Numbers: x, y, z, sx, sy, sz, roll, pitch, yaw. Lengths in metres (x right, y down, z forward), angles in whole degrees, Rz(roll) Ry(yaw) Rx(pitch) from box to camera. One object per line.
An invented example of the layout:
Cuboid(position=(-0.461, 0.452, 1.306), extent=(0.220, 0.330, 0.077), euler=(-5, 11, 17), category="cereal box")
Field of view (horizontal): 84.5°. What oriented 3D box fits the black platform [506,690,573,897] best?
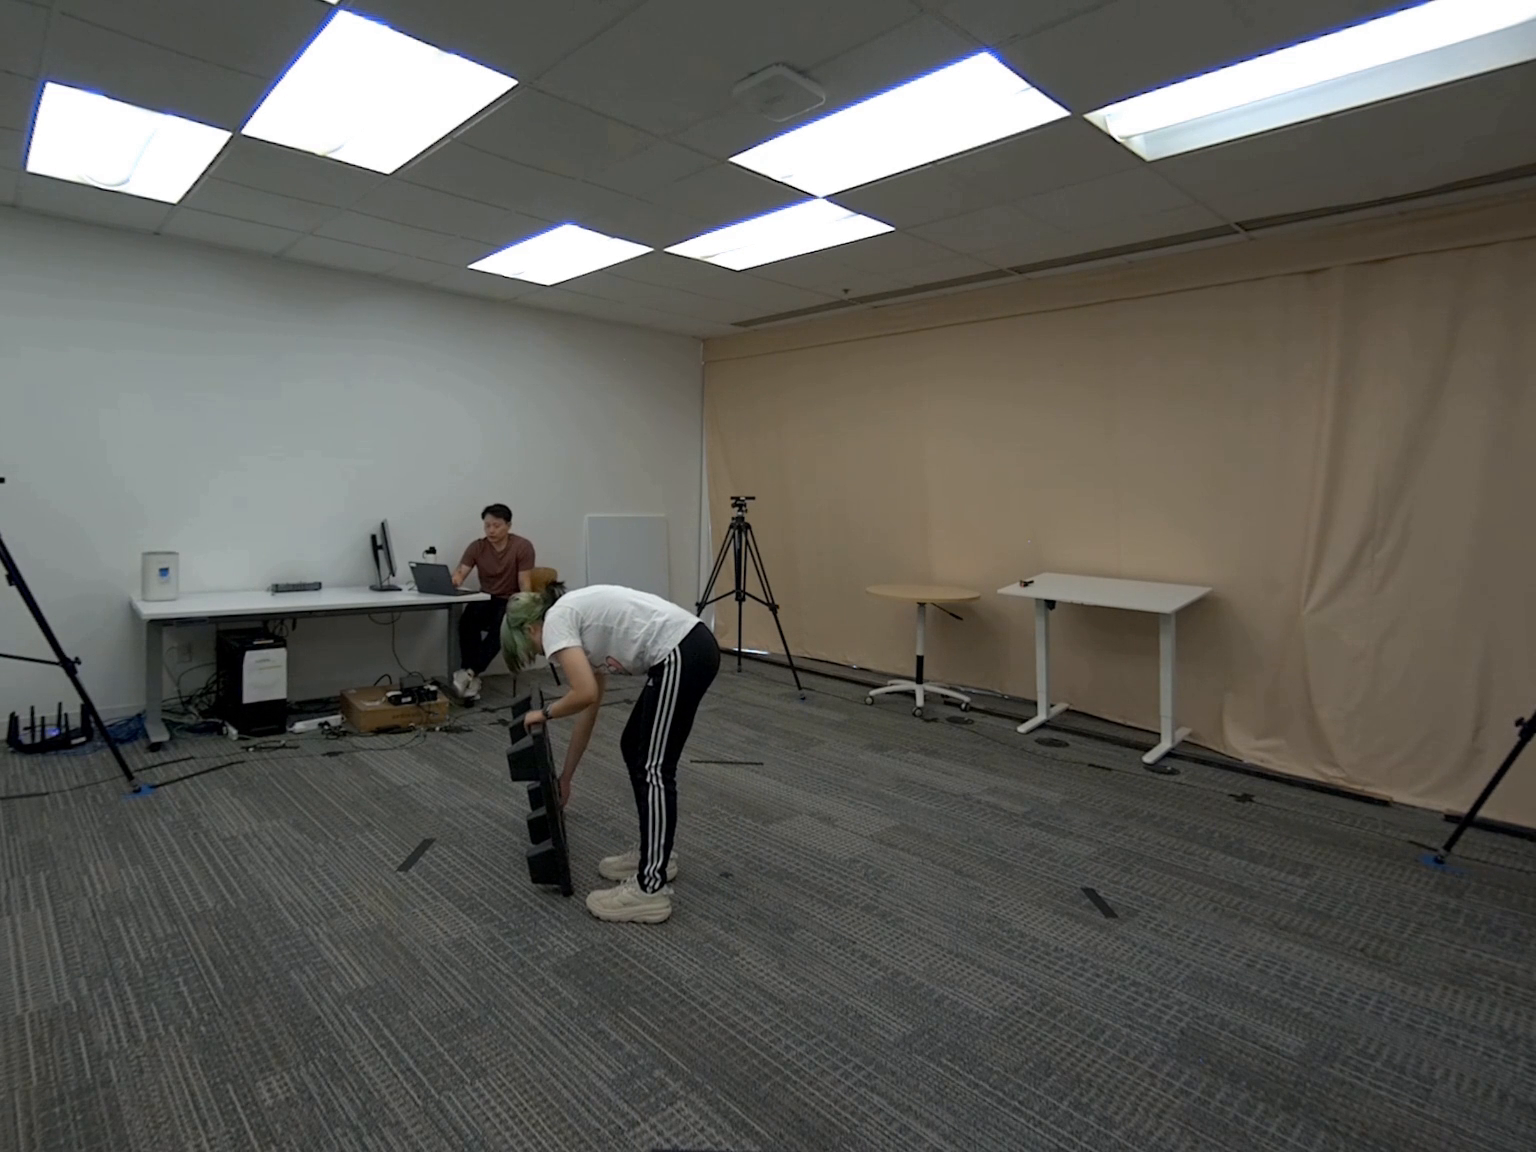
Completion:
Cuboid(position=(-0.899, 0.793, 3.259), extent=(0.142, 0.602, 0.817), euler=(-10, 7, -15), category="black platform")
